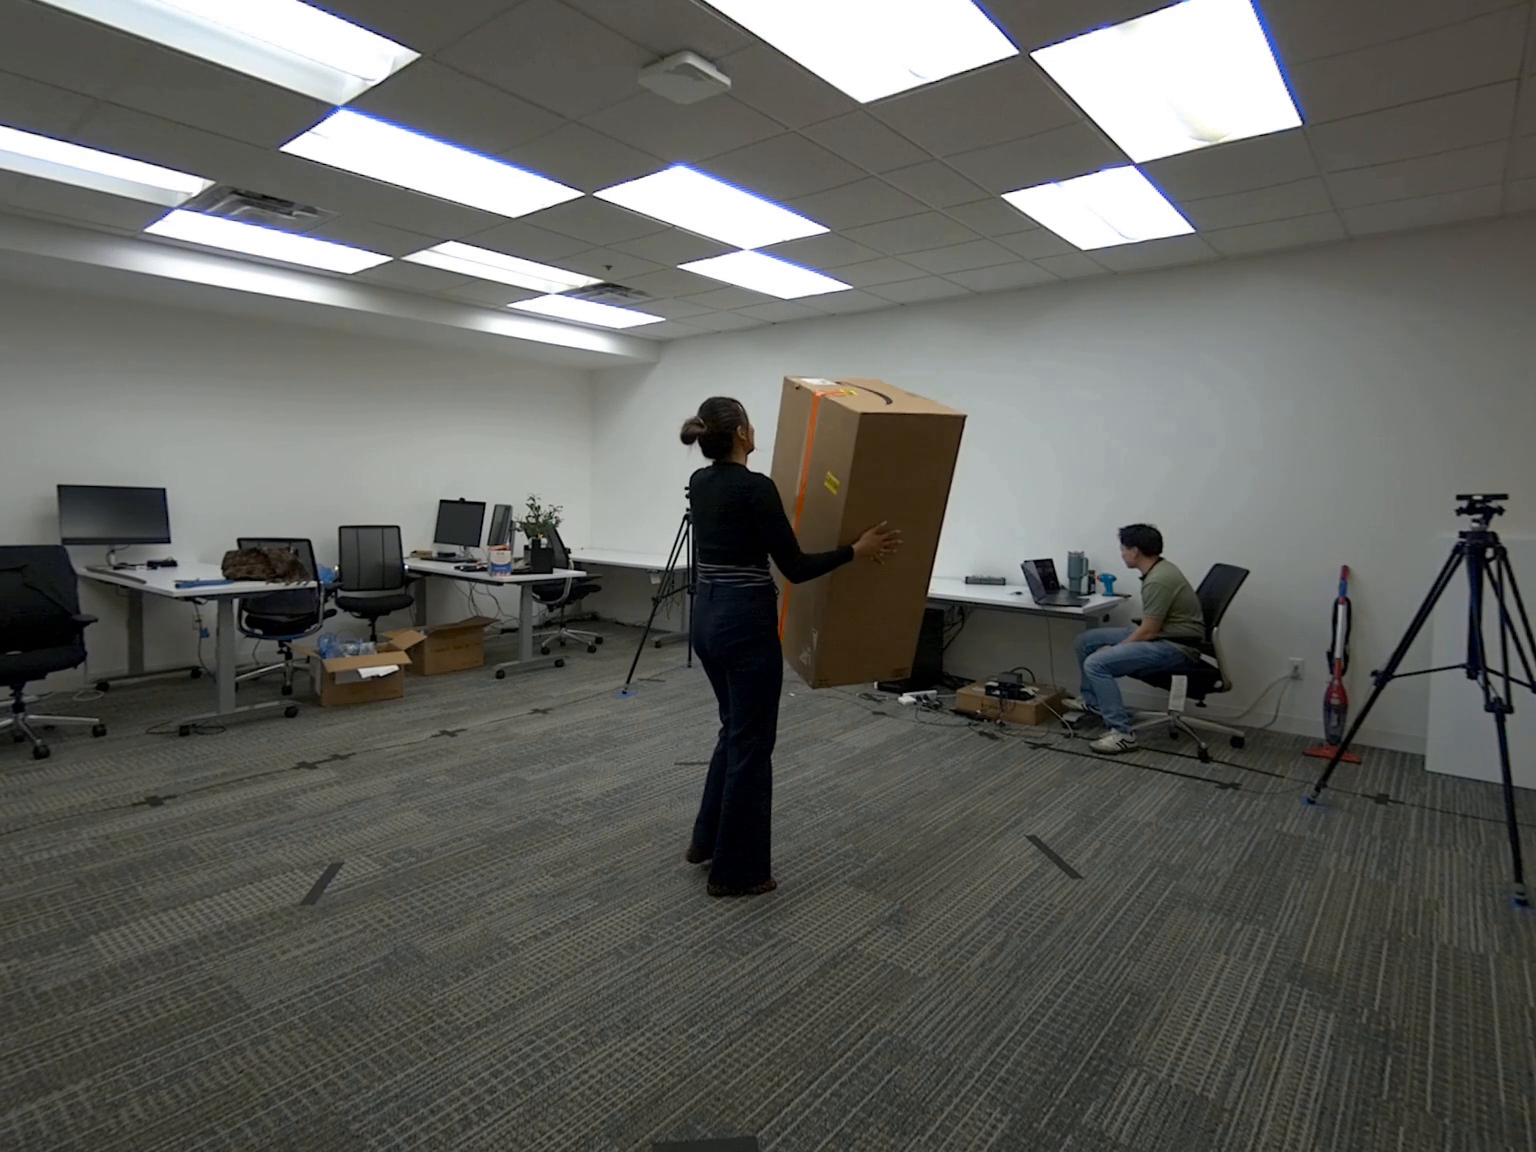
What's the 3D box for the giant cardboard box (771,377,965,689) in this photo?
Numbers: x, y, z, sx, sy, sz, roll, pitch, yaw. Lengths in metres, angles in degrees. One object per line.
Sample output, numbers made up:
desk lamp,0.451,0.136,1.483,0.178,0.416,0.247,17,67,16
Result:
giant cardboard box,0.279,-0.187,3.204,0.416,1.009,0.600,-2,23,-25
